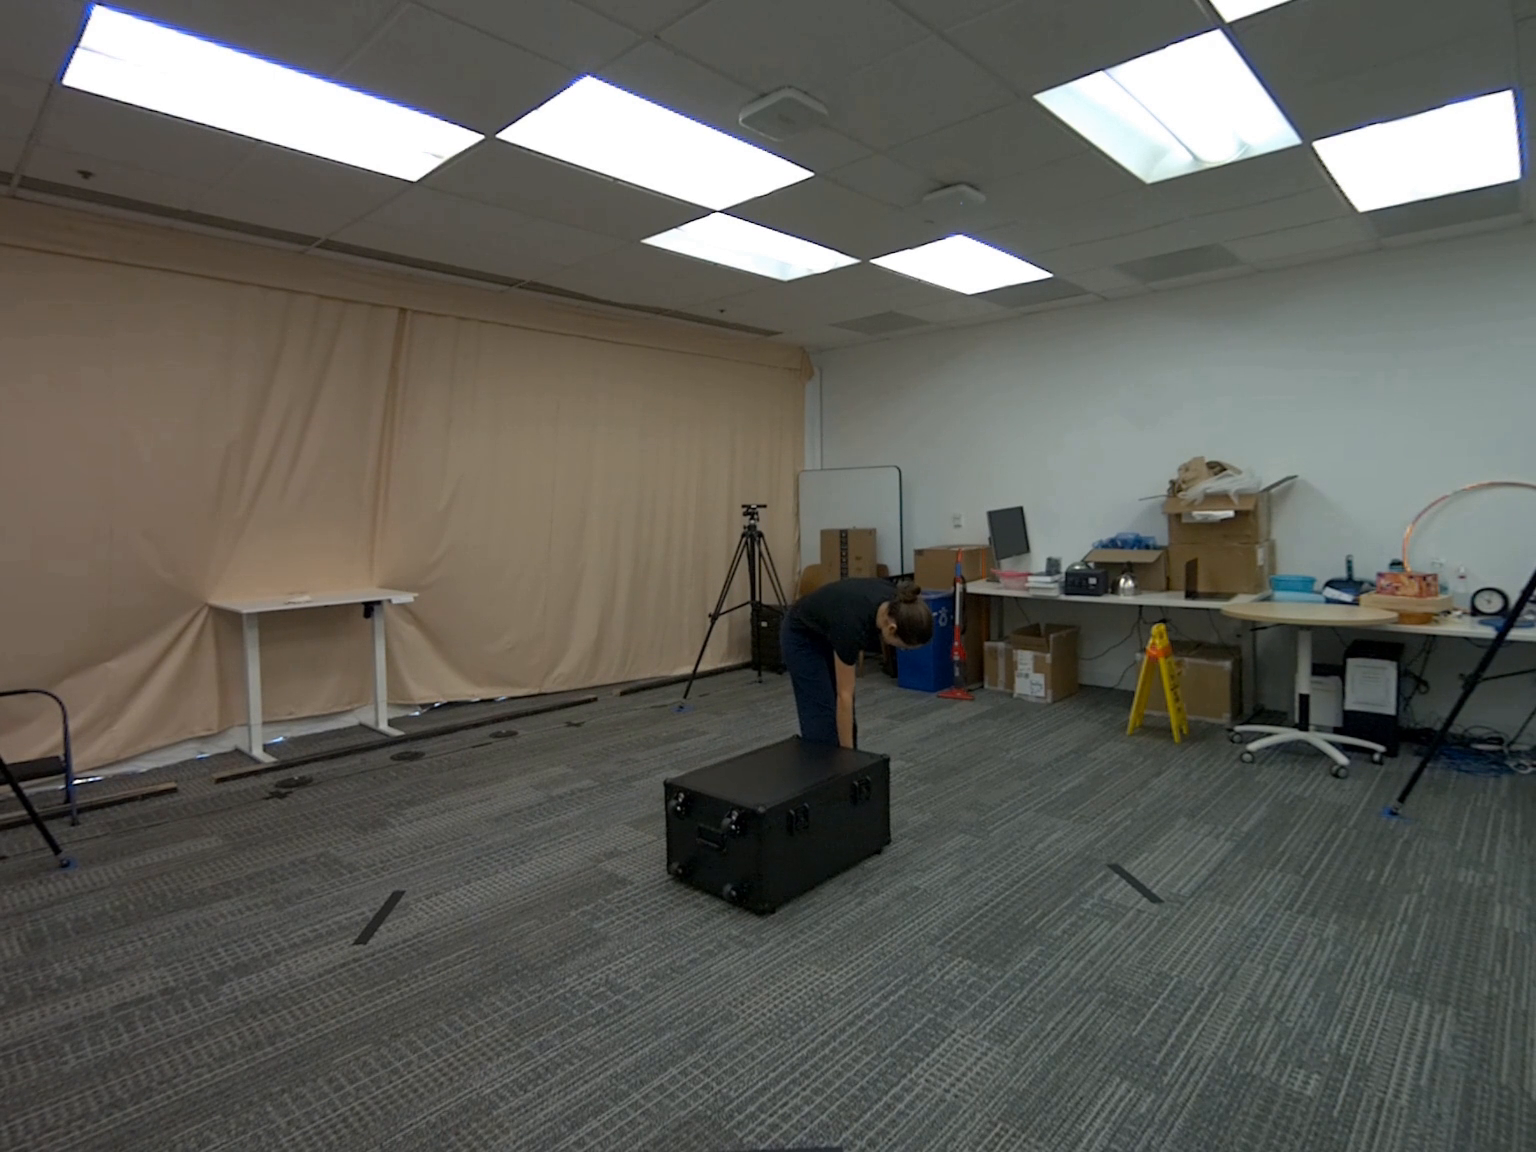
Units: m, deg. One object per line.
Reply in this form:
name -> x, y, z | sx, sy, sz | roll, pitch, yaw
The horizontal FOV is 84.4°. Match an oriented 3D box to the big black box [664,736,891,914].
big black box -> 0.043, 0.909, 3.220 | 0.538, 0.395, 0.836 | 3, 7, 42
